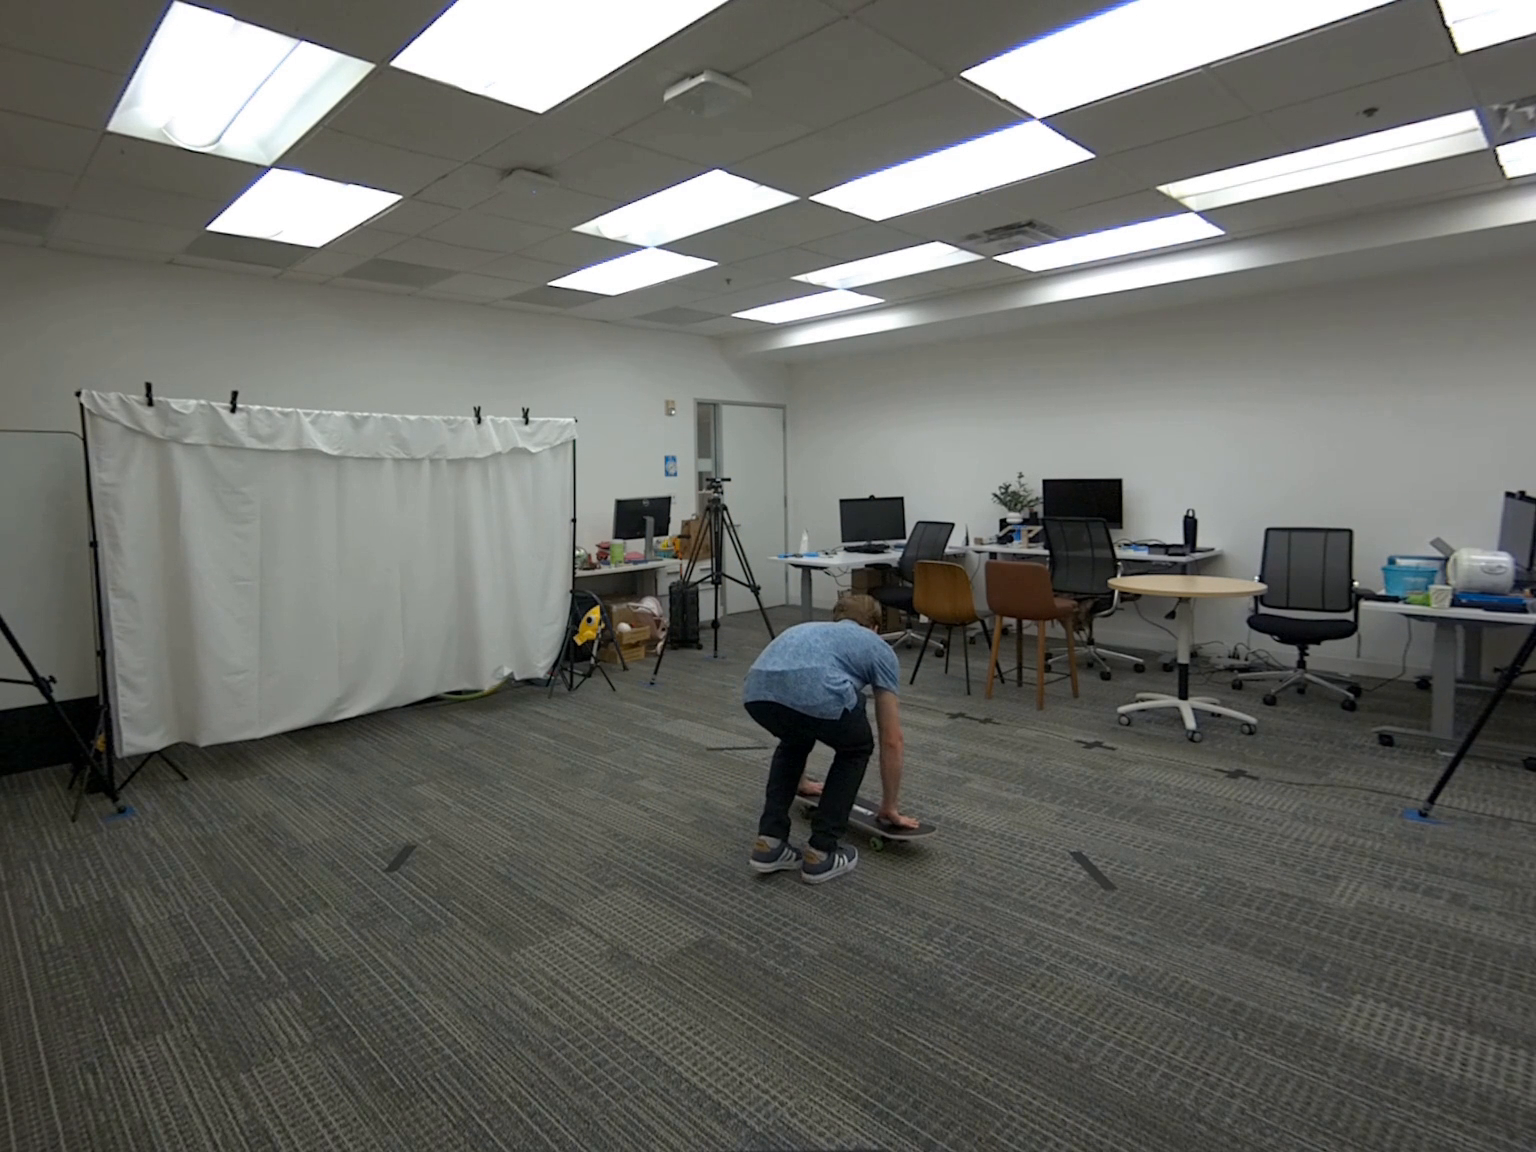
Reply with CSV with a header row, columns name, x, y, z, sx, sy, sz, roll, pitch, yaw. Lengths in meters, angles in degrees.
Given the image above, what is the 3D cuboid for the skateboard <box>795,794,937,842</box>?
name,x,y,z,sx,sy,sz,roll,pitch,yaw
skateboard,0.339,0.948,3.391,0.188,0.110,0.809,-1,5,-38
